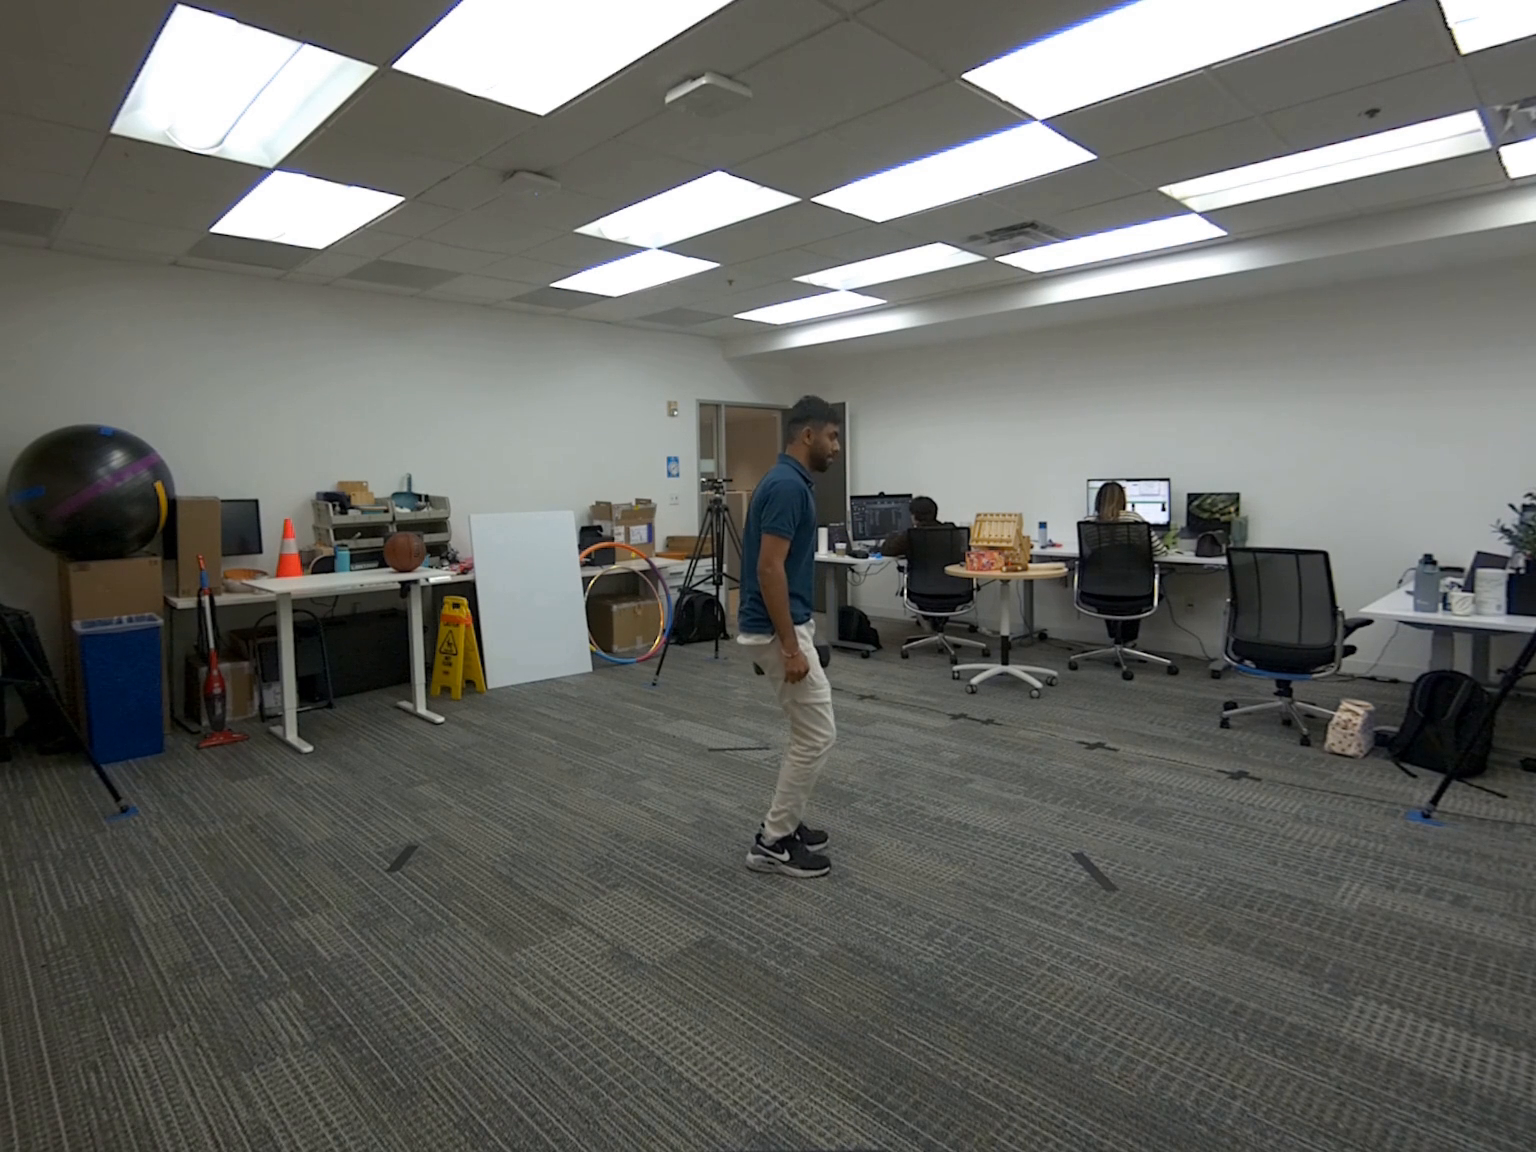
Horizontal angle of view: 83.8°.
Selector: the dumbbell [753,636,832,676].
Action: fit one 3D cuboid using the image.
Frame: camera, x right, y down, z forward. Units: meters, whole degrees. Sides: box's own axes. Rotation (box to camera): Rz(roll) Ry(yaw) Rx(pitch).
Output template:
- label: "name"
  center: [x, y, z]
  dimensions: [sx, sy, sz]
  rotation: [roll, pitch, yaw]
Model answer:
- label: "dumbbell"
  center: [0.098, 0.315, 3.307]
  dimensions: [0.292, 0.123, 0.109]
  rotation: [-6, -4, -5]
